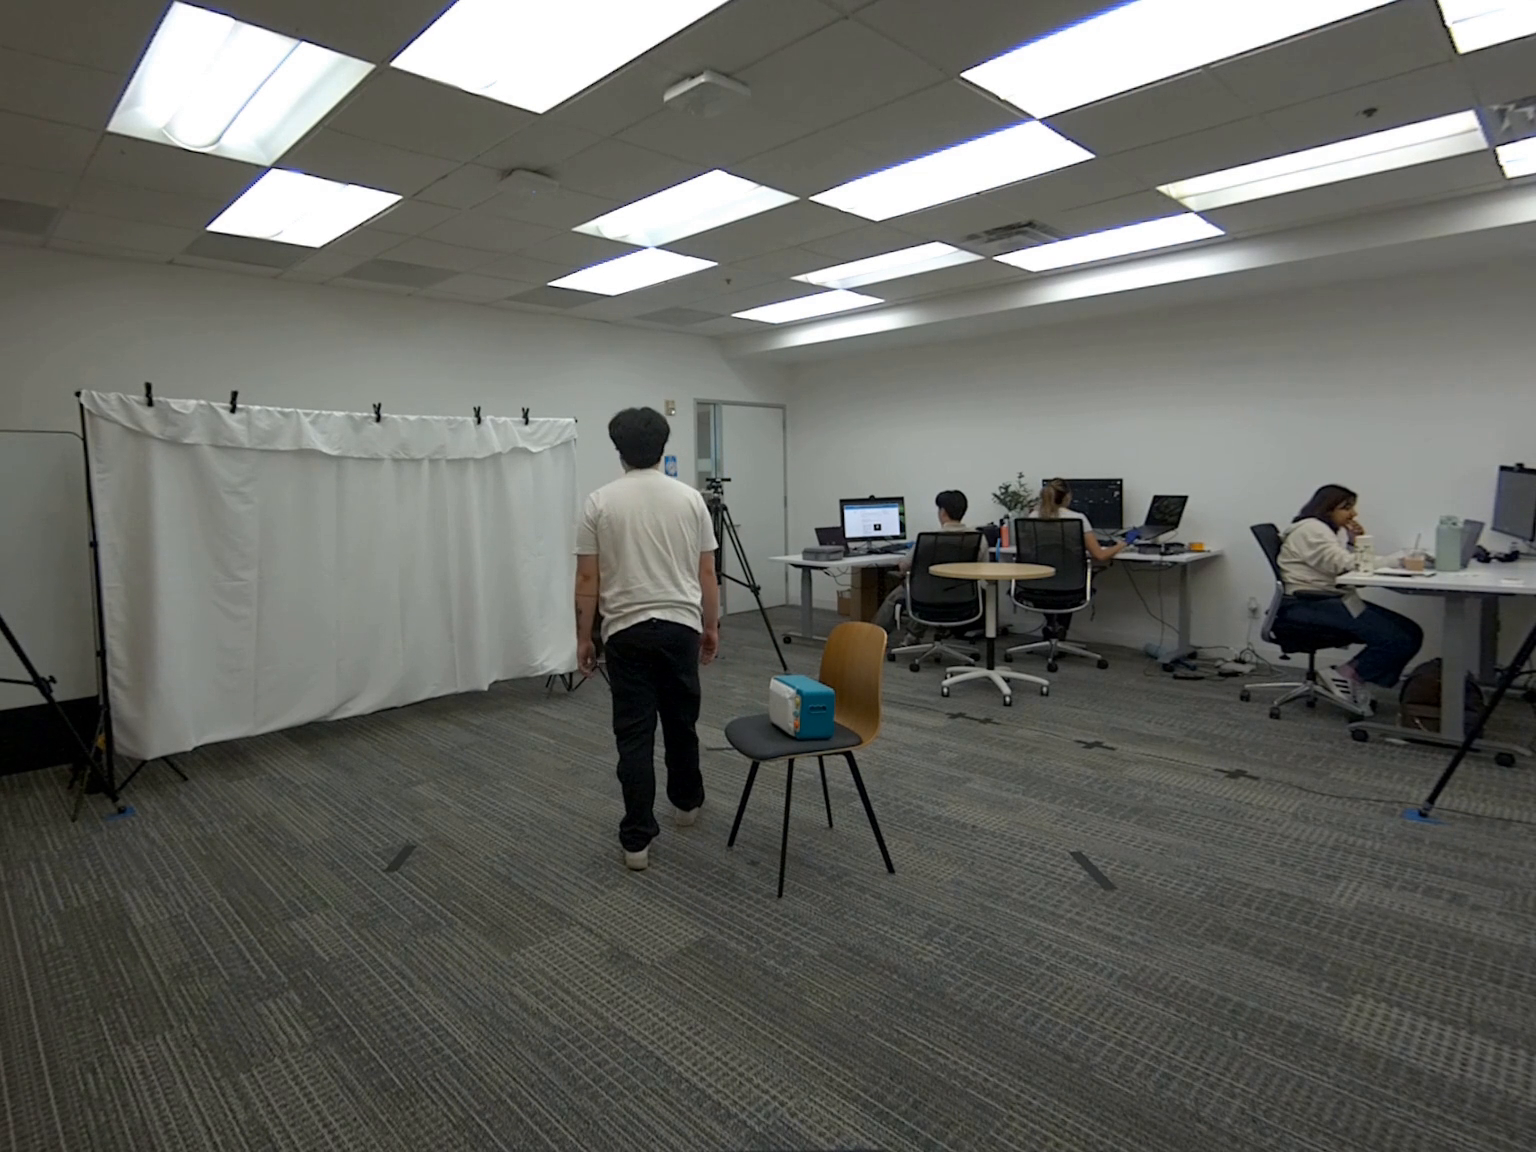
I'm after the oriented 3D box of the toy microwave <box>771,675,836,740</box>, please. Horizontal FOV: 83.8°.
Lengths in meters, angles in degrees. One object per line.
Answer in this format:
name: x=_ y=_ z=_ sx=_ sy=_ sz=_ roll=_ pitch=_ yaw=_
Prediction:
toy microwave: x=0.113 y=0.466 z=3.070 sx=0.149 sy=0.183 sz=0.292 roll=2 pitch=4 yaw=-21
